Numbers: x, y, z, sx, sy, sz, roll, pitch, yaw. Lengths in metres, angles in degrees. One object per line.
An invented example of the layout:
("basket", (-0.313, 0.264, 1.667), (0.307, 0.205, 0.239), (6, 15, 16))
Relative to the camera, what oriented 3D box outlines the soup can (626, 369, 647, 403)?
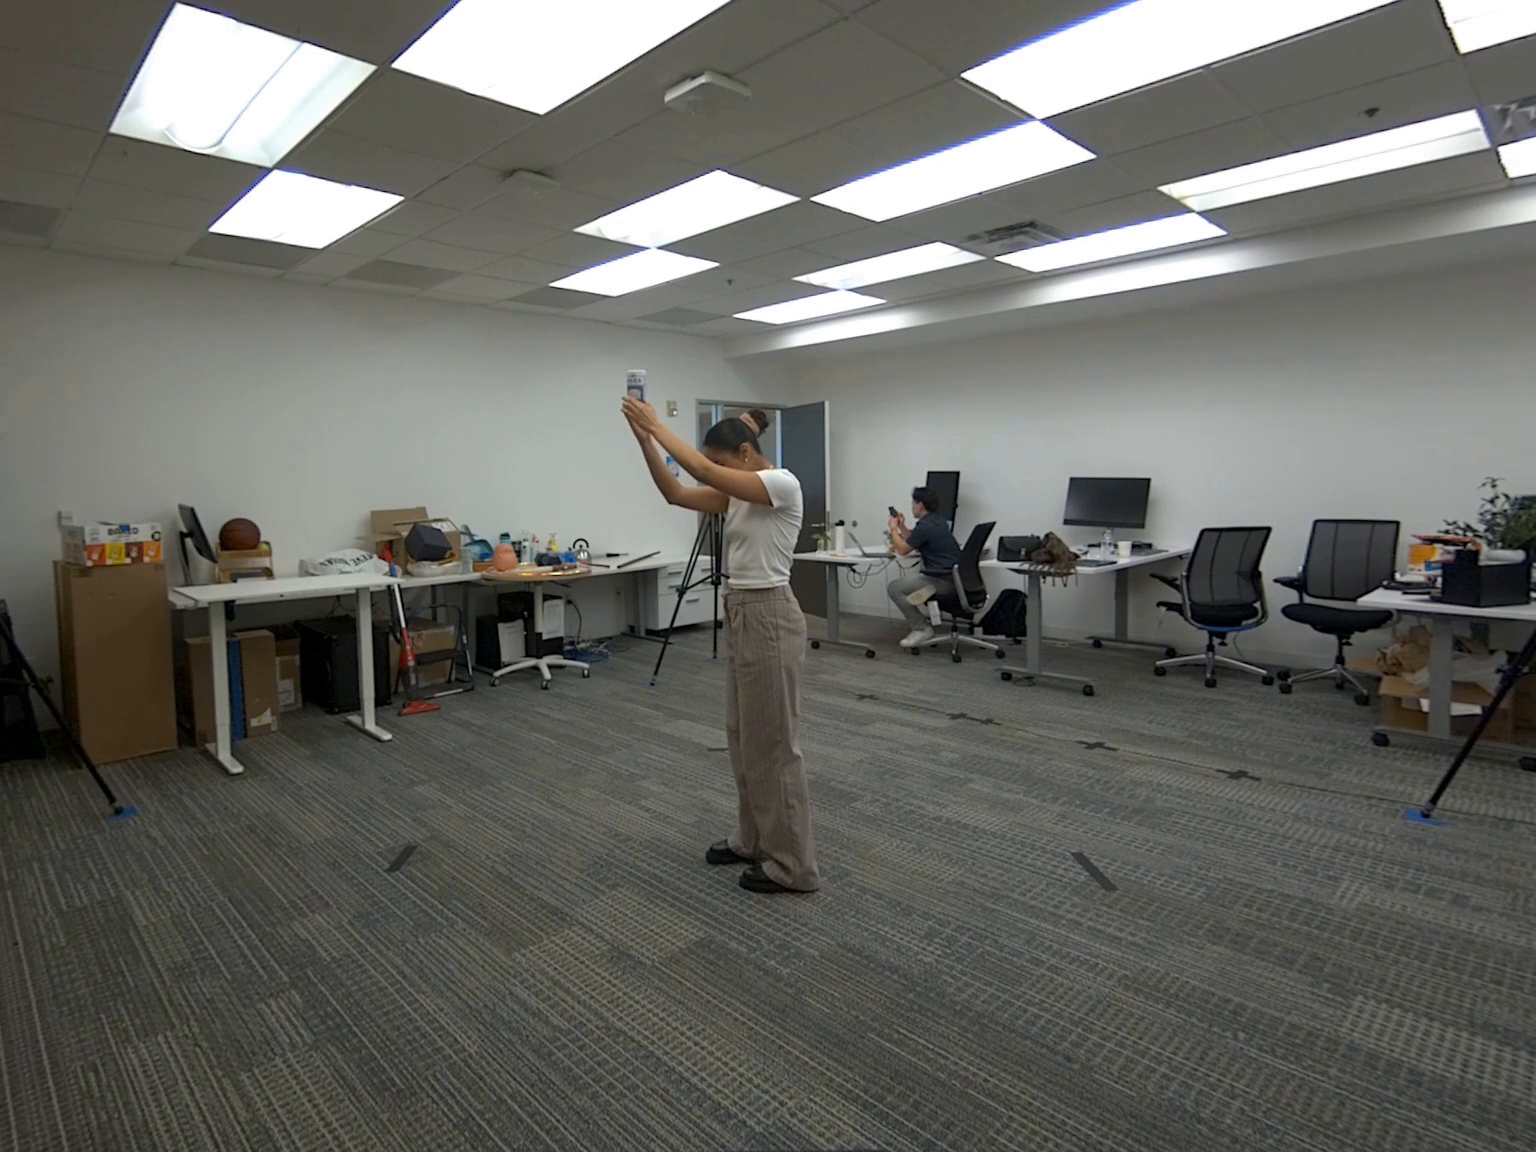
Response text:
("soup can", (-0.450, -0.647, 2.945), (0.067, 0.121, 0.067), (0, 5, -2))
